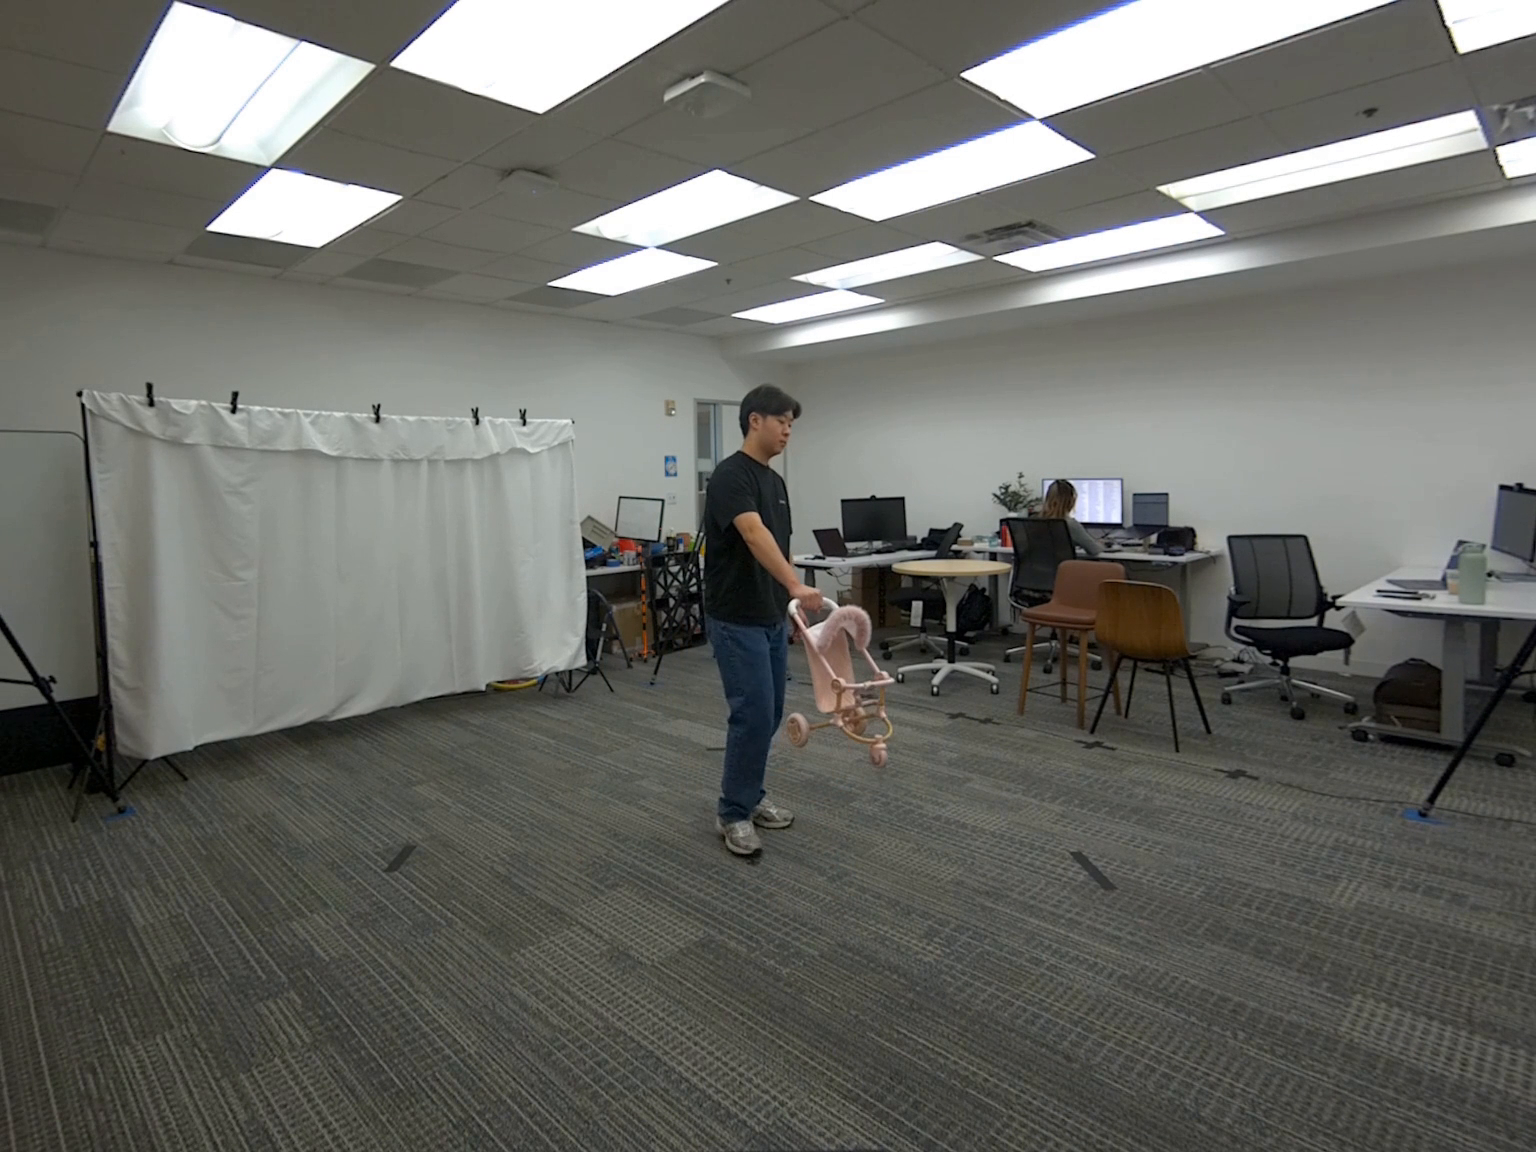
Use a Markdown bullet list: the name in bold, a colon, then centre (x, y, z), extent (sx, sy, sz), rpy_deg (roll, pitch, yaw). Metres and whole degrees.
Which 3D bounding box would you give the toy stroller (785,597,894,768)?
- **toy stroller**: centre (0.248, 0.341, 2.761), extent (0.274, 0.537, 0.348), rpy_deg (-1, -5, -32)
